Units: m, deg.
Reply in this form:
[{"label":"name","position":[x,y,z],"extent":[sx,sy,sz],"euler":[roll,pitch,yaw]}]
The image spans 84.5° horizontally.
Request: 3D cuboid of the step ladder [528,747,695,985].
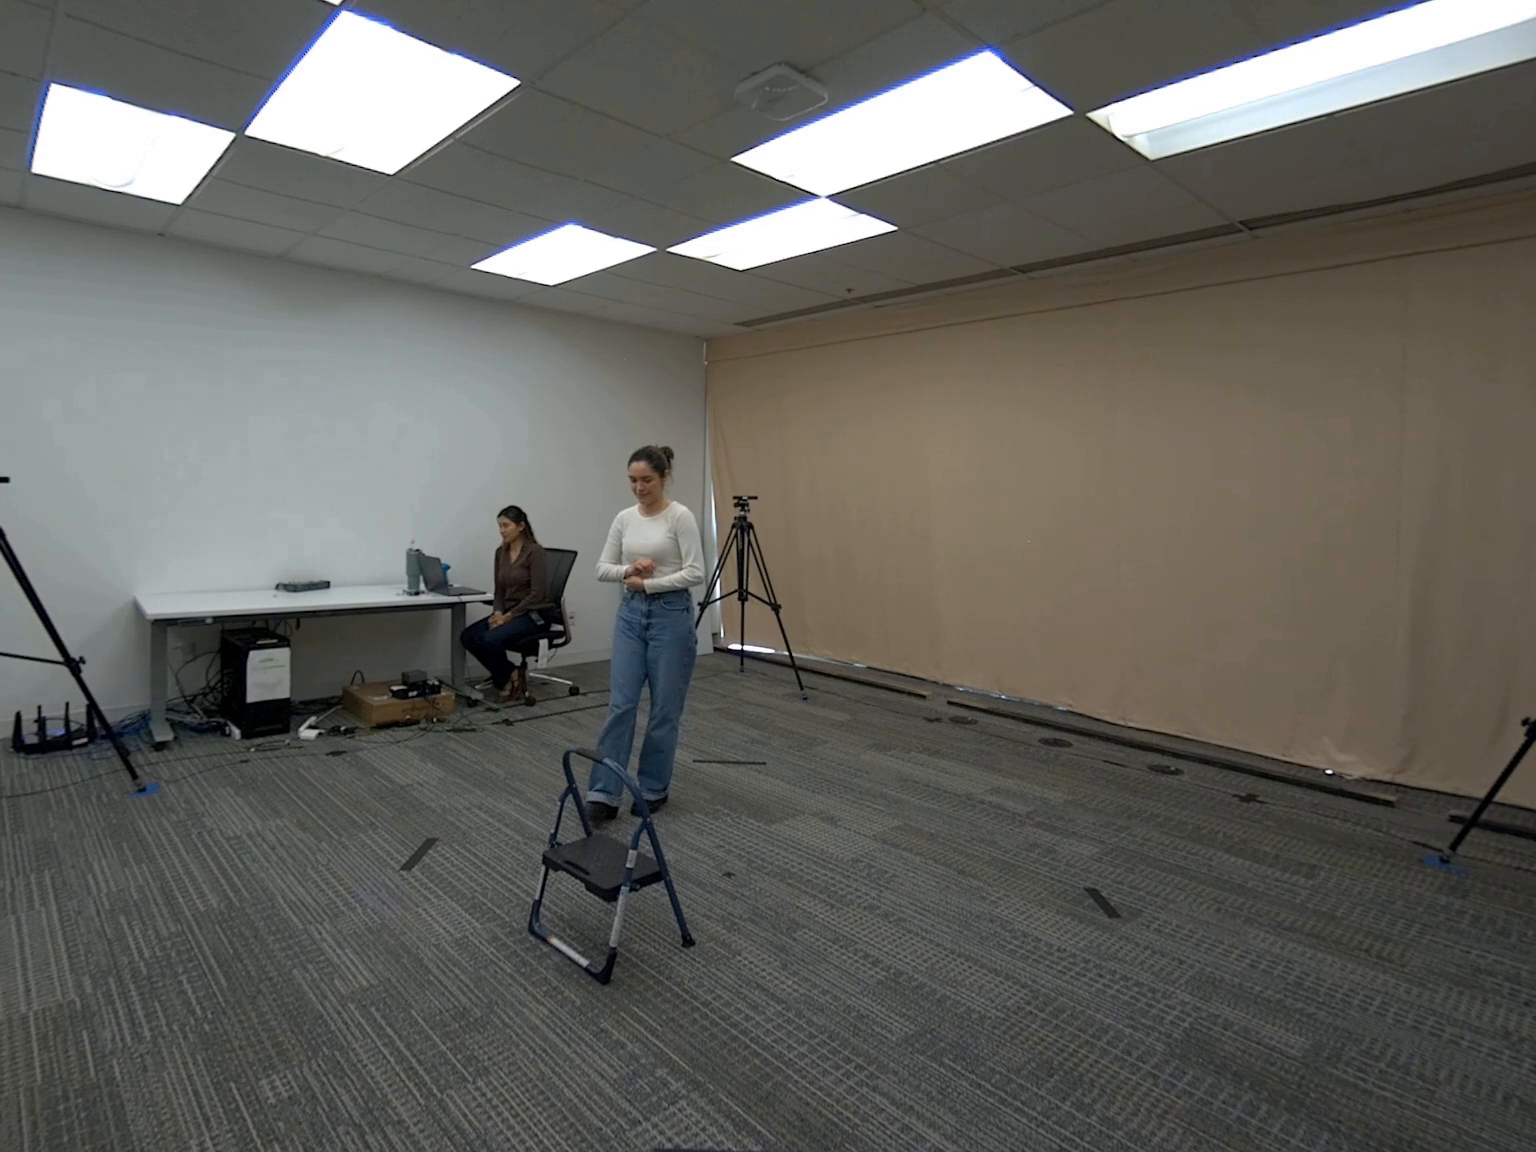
[{"label":"step ladder","position":[-0.498,0.838,2.629],"extent":[0.441,0.605,0.341],"euler":[4,4,44]}]
